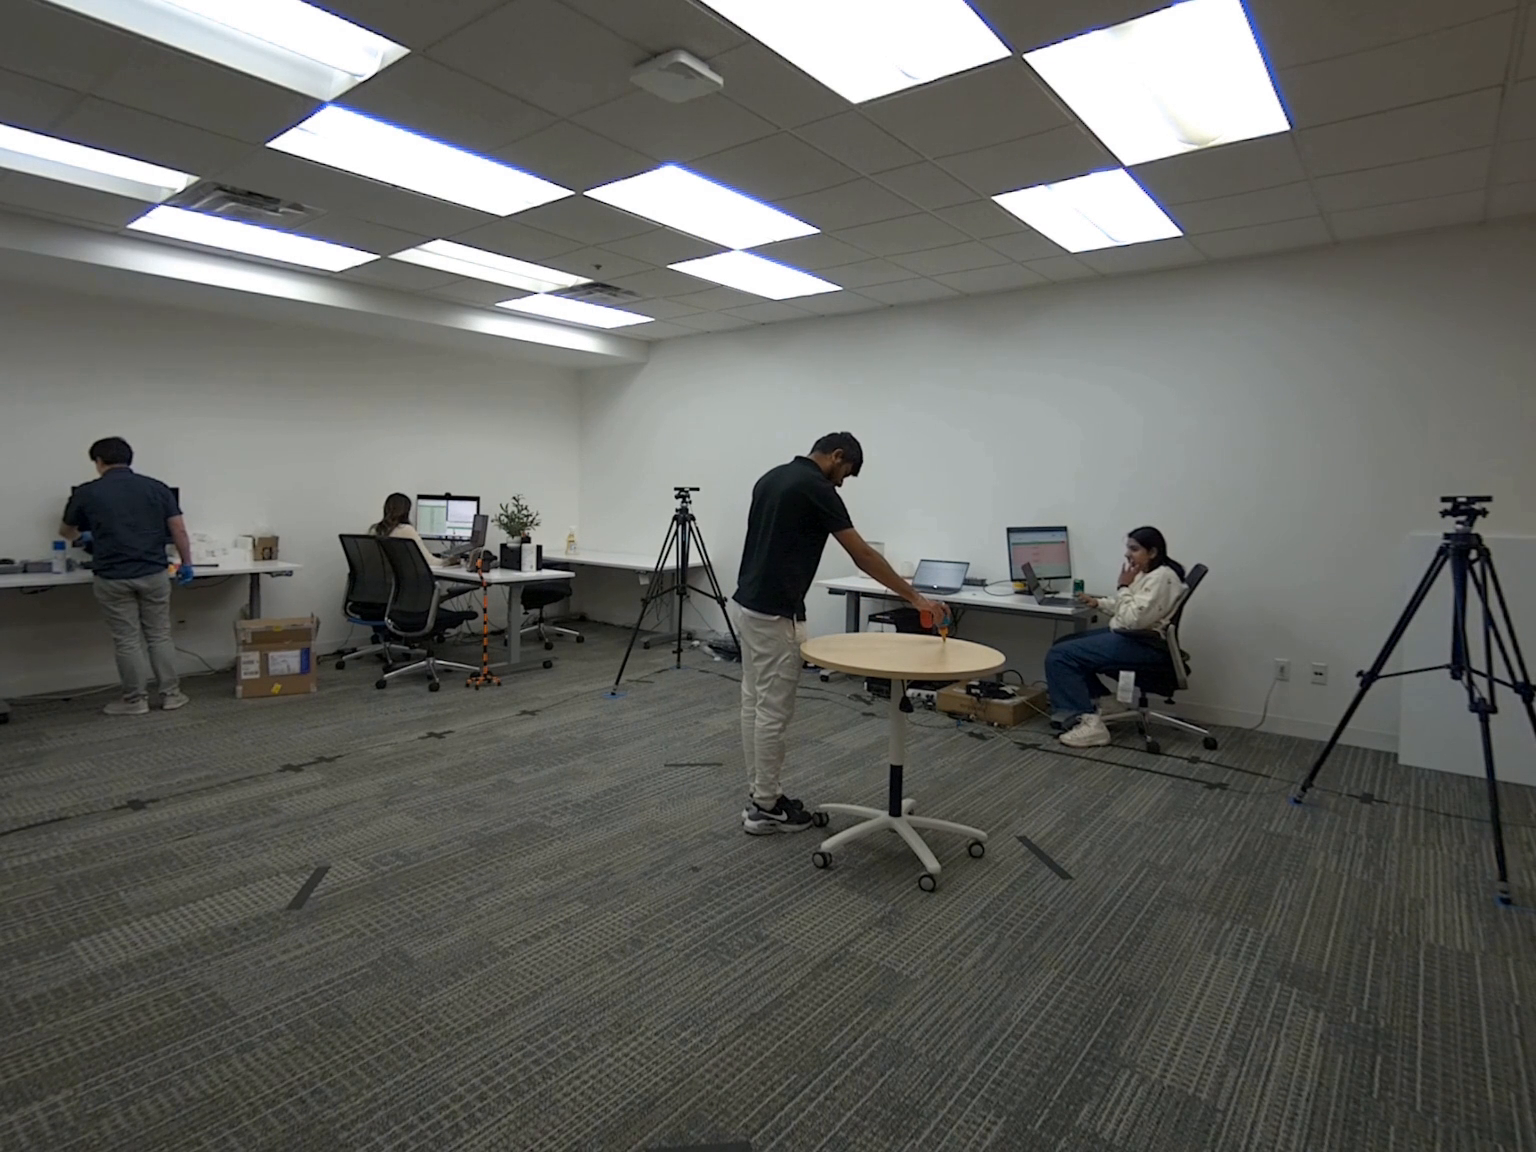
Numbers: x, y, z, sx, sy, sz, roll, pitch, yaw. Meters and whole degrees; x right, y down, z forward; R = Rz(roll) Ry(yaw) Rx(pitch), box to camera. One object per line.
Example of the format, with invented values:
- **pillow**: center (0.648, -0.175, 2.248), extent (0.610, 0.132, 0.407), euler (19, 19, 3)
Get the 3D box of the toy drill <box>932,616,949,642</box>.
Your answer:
- **toy drill**: center (0.673, 0.193, 3.408), extent (0.143, 0.168, 0.063), euler (-15, 15, -43)
